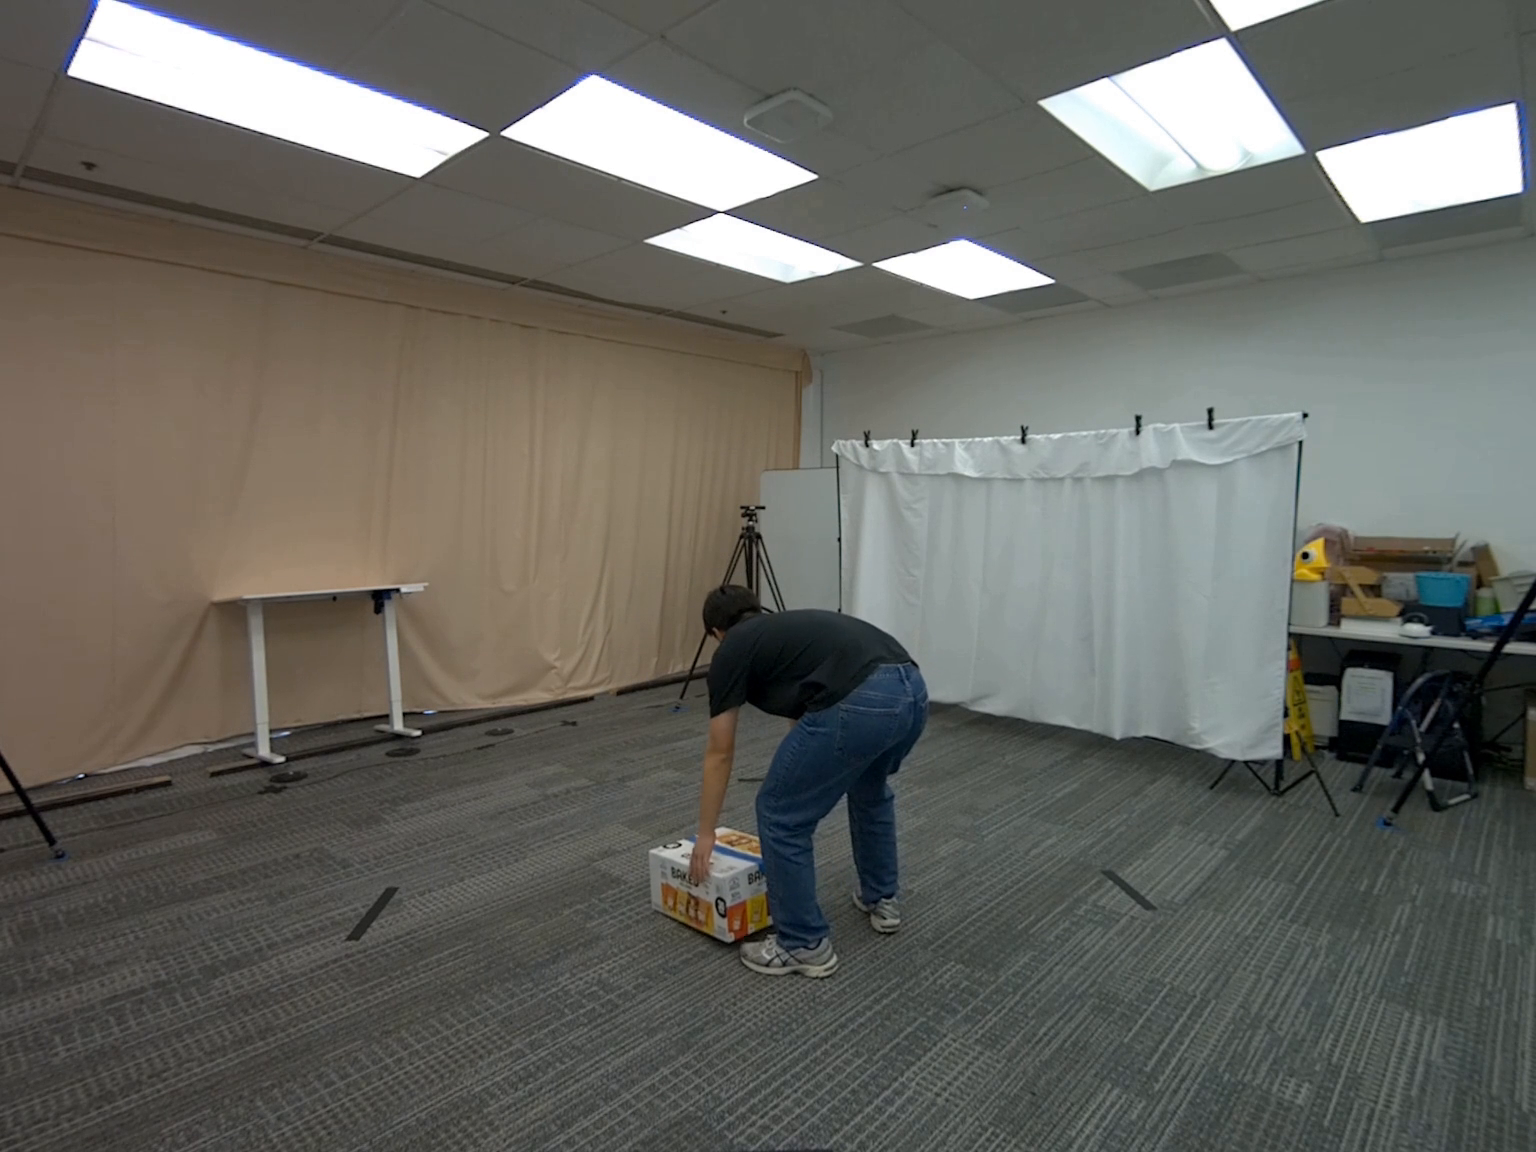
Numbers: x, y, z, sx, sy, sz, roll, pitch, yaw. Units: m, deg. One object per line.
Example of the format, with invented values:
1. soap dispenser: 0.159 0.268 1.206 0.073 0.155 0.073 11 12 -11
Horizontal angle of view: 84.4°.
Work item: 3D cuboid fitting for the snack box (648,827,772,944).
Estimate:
1. snack box: -0.143 1.027 2.869 0.330 0.206 0.417 -4 0 -42
